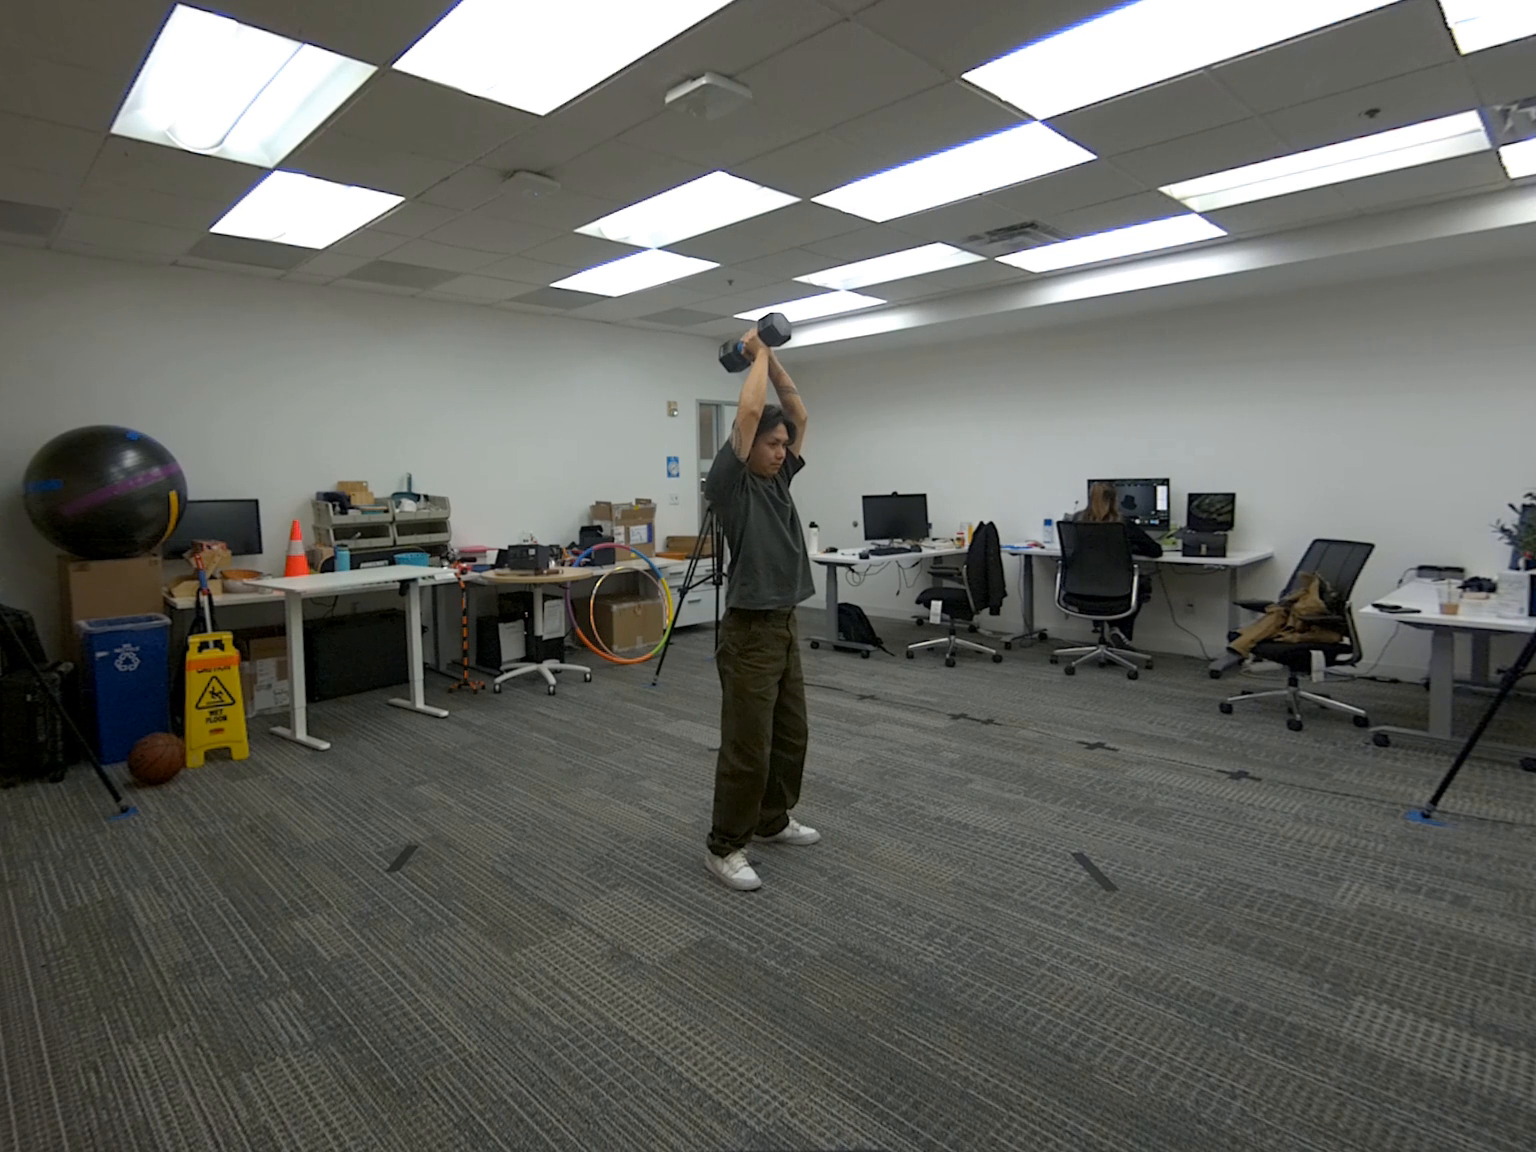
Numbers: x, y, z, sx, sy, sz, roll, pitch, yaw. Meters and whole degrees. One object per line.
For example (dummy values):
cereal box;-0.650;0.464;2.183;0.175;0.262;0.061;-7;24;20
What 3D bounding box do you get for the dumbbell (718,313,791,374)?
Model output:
dumbbell;-0.043;-0.834;3.048;0.105;0.125;0.298;25;-31;-36
